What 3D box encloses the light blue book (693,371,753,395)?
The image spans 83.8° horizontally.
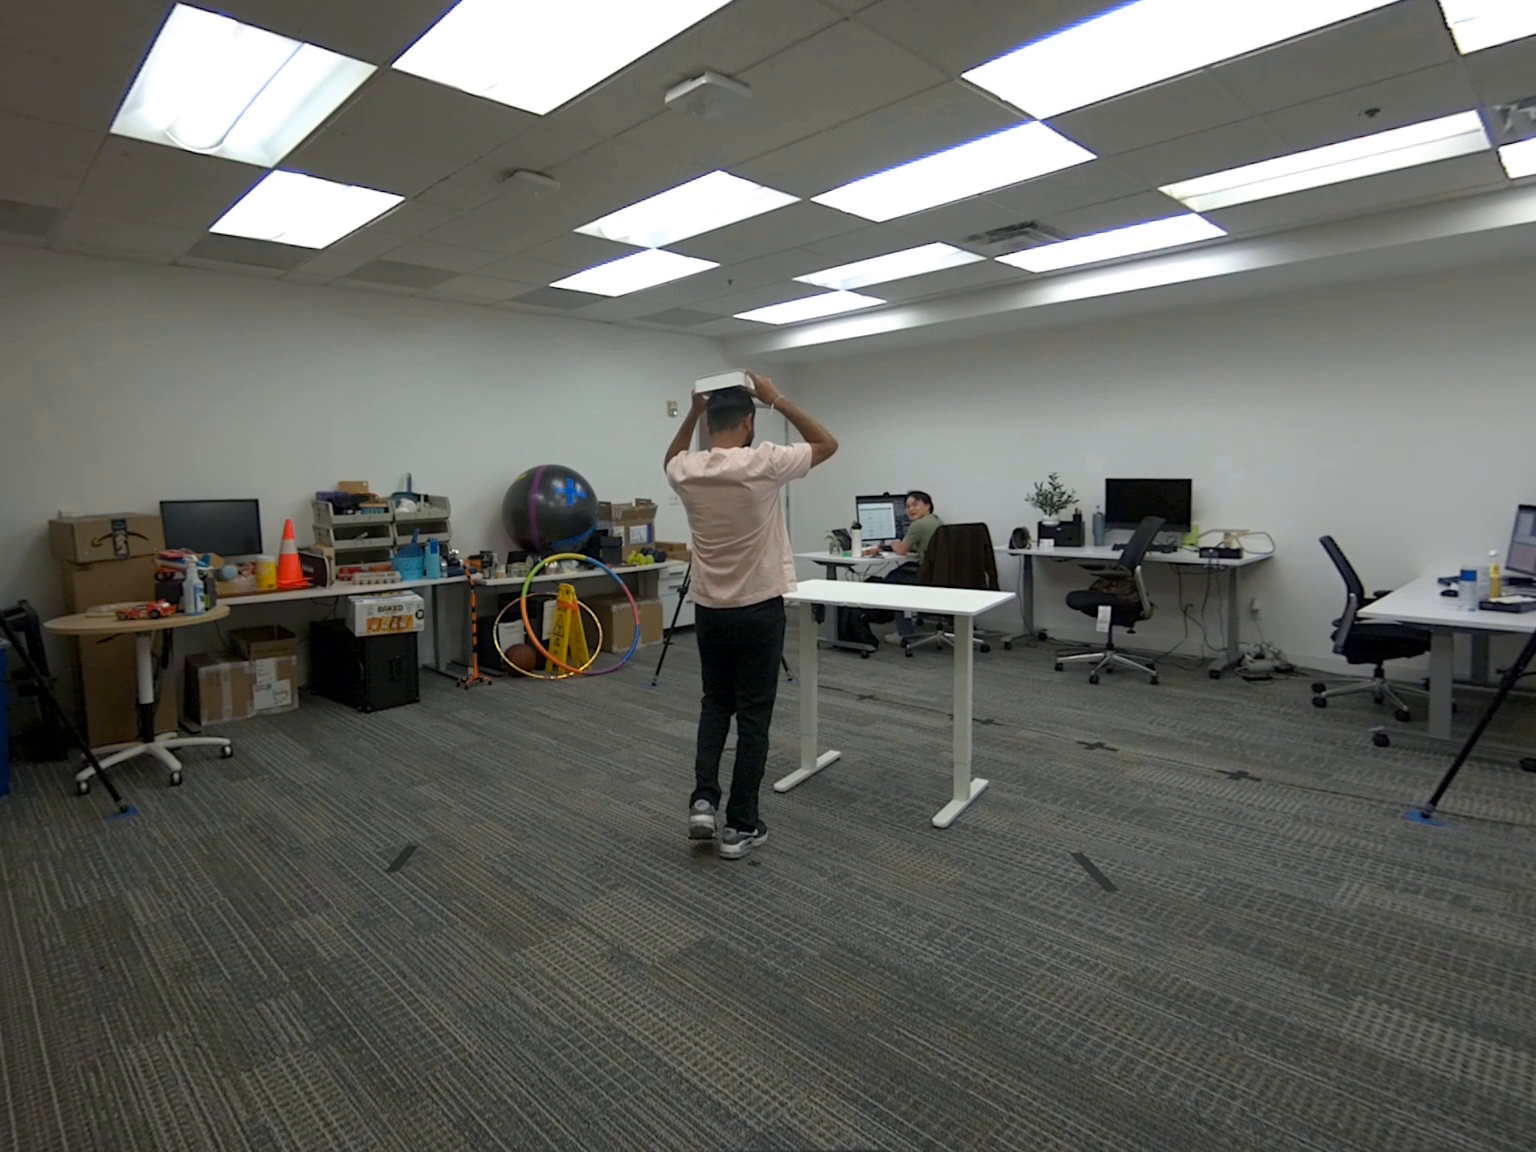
[{"bbox_3d":[-0.147,-0.712,3.224,0.195,0.059,0.256,-6,2,21],"label":"light blue book"}]
